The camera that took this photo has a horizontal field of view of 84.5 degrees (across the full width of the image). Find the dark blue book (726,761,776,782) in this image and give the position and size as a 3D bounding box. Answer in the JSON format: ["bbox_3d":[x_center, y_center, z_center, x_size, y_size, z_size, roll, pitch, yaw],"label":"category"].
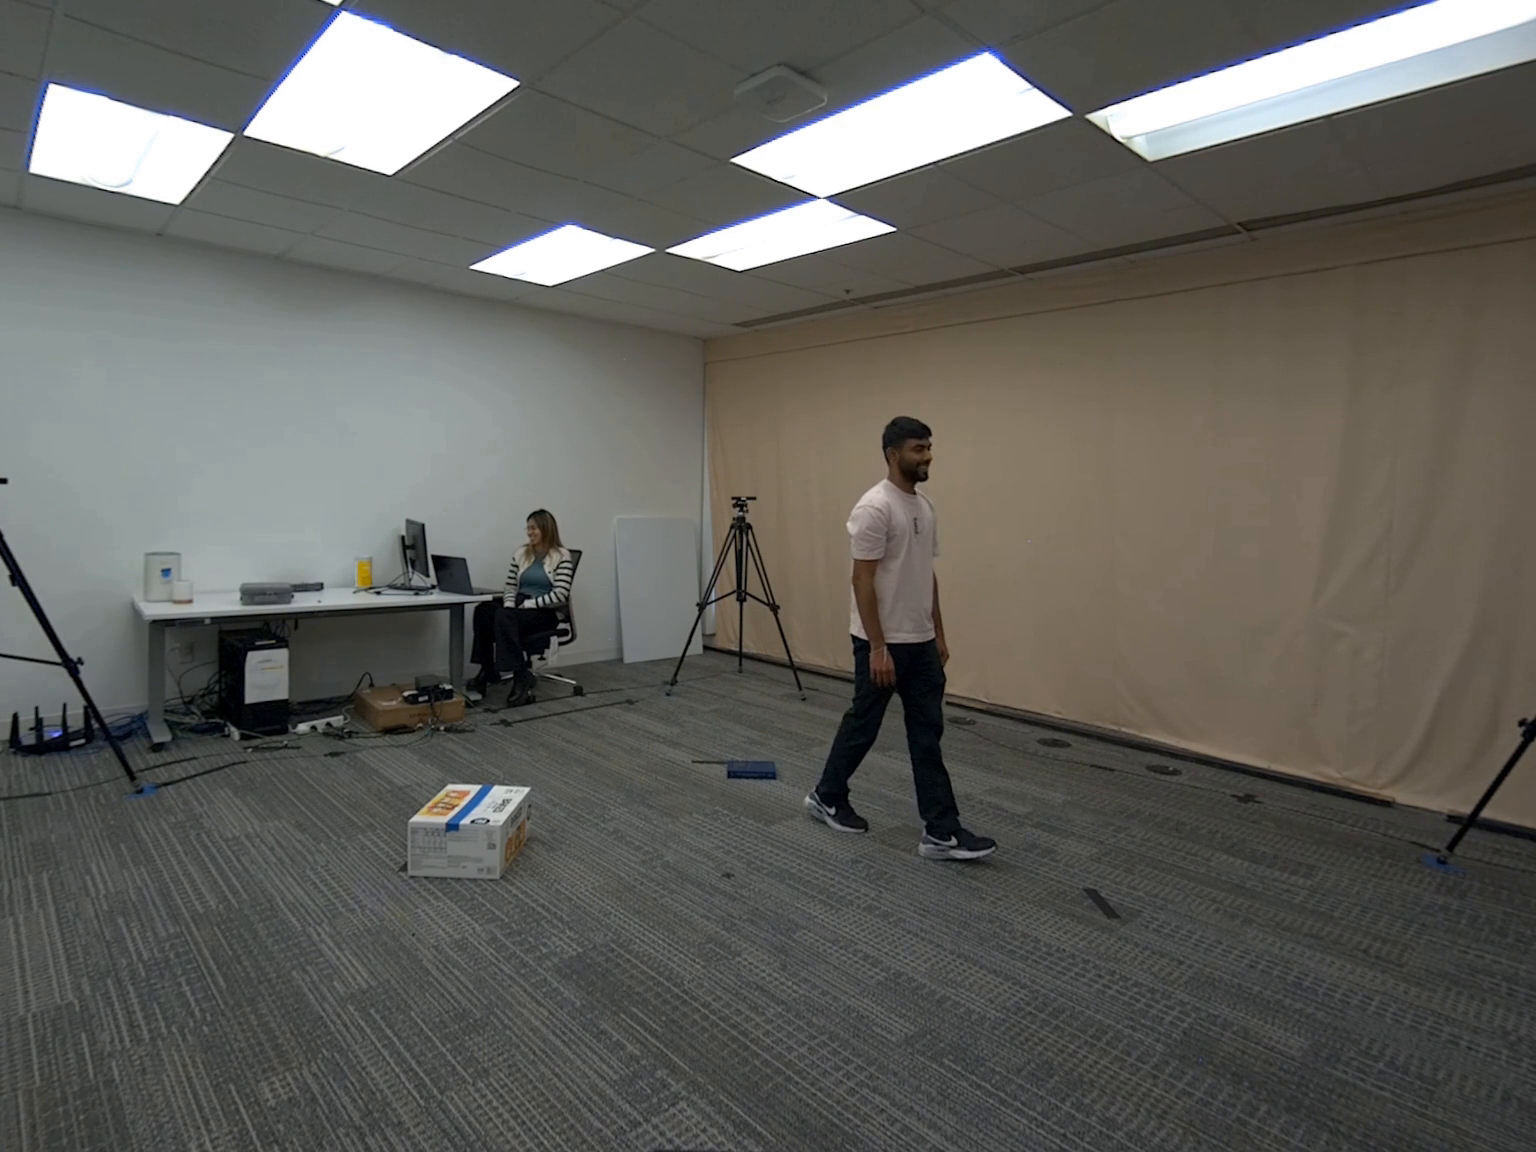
[{"bbox_3d":[-0.091,0.985,4.277,0.245,0.045,0.164,1,4,-2],"label":"dark blue book"}]
